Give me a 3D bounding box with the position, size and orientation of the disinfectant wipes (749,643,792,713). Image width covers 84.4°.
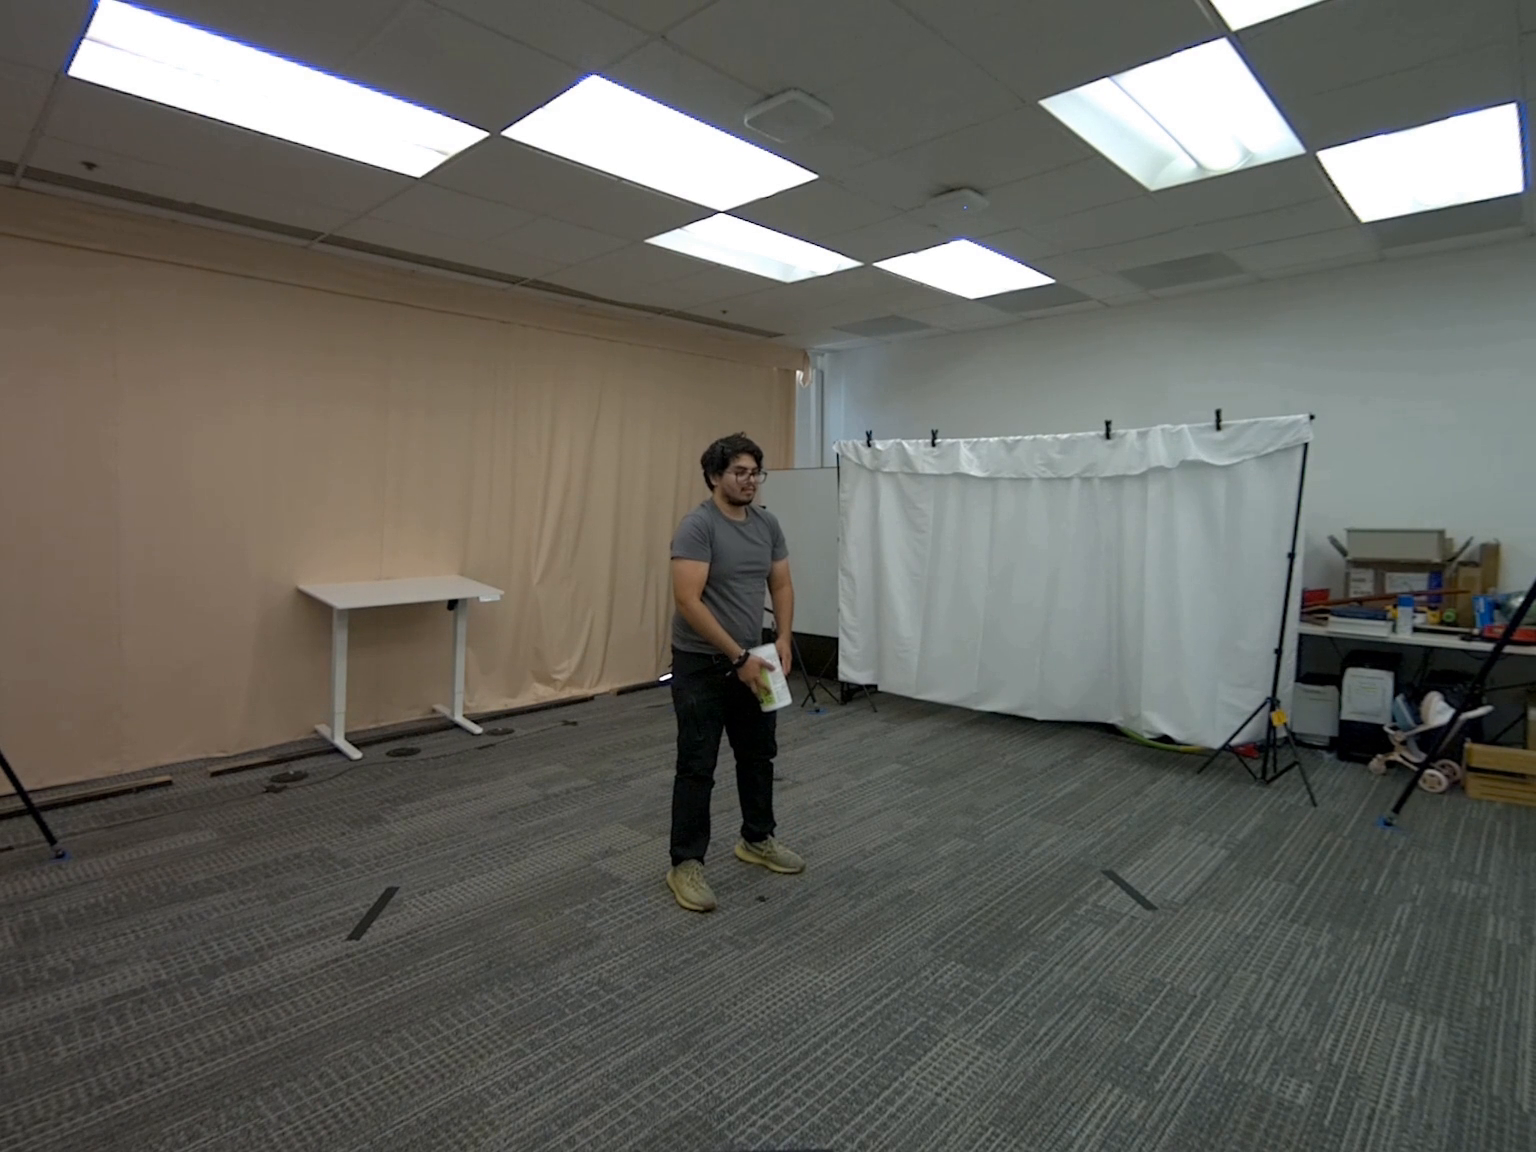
[{"bbox_3d":[0.005,0.352,2.916,0.117,0.218,0.117,-15,-4,-3],"label":"disinfectant wipes"}]
